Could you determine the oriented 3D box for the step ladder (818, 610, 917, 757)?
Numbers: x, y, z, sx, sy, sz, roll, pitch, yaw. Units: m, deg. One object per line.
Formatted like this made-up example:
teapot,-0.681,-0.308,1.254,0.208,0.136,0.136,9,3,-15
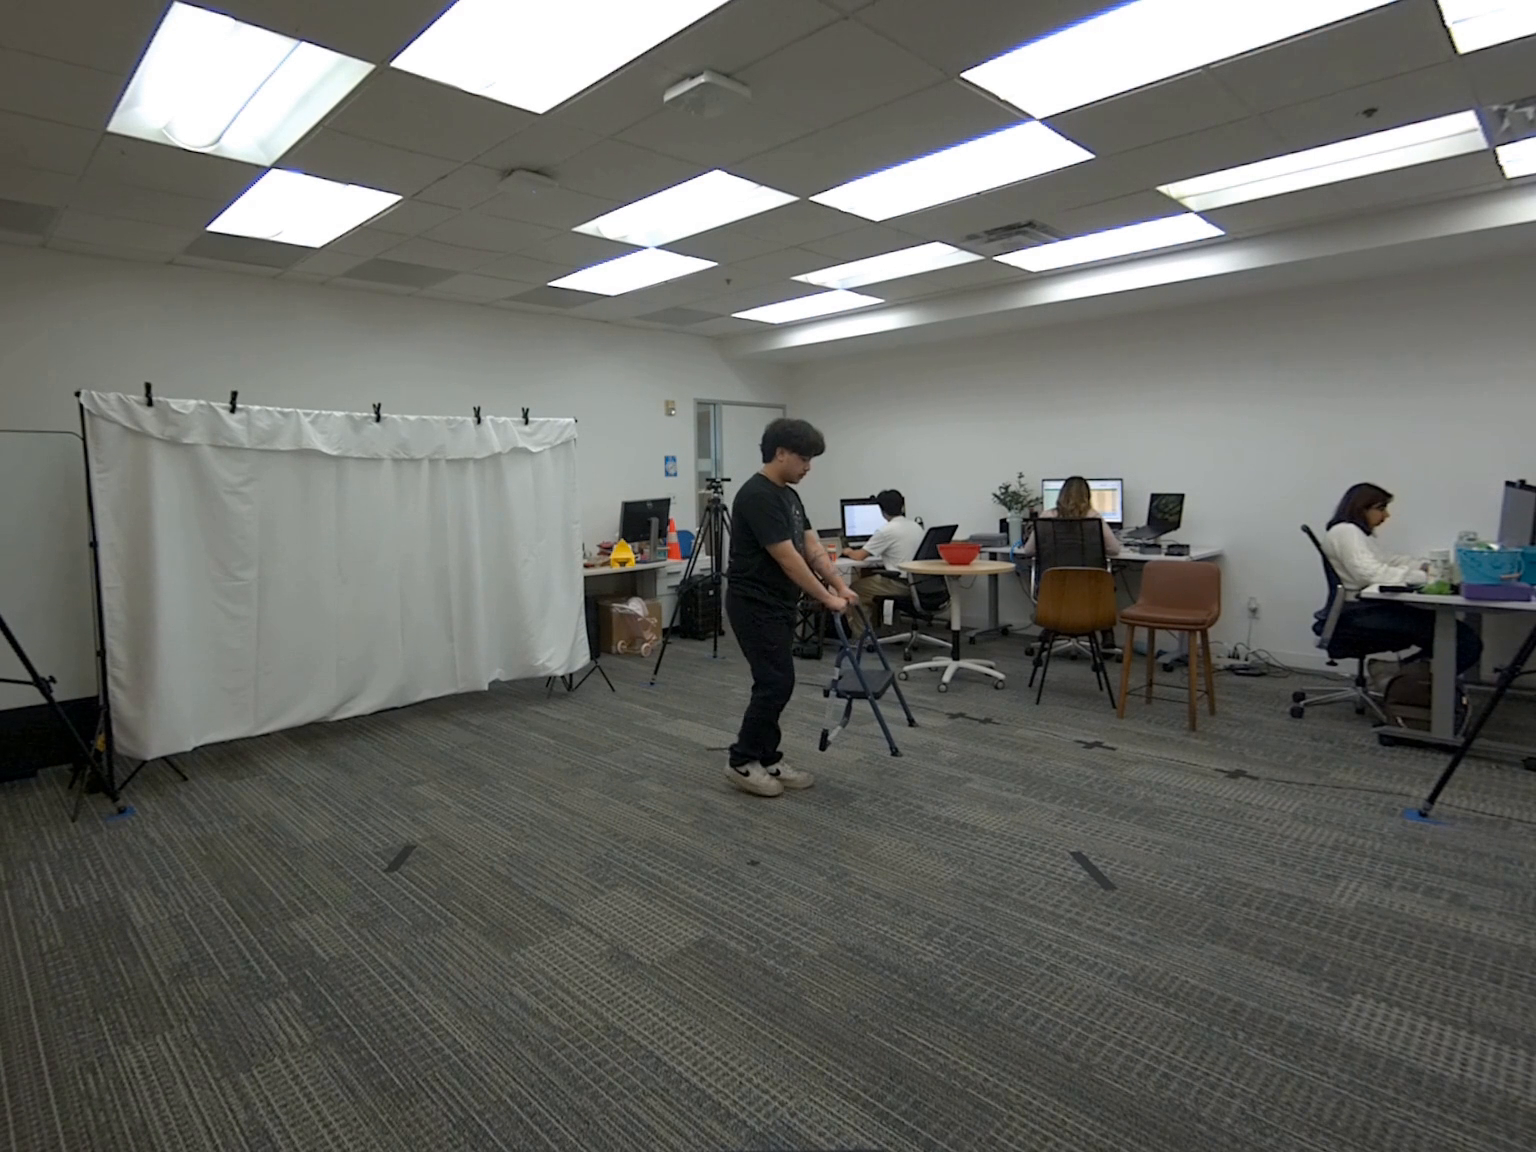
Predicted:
step ladder,0.421,0.418,3.714,0.356,0.604,0.424,-3,5,21
